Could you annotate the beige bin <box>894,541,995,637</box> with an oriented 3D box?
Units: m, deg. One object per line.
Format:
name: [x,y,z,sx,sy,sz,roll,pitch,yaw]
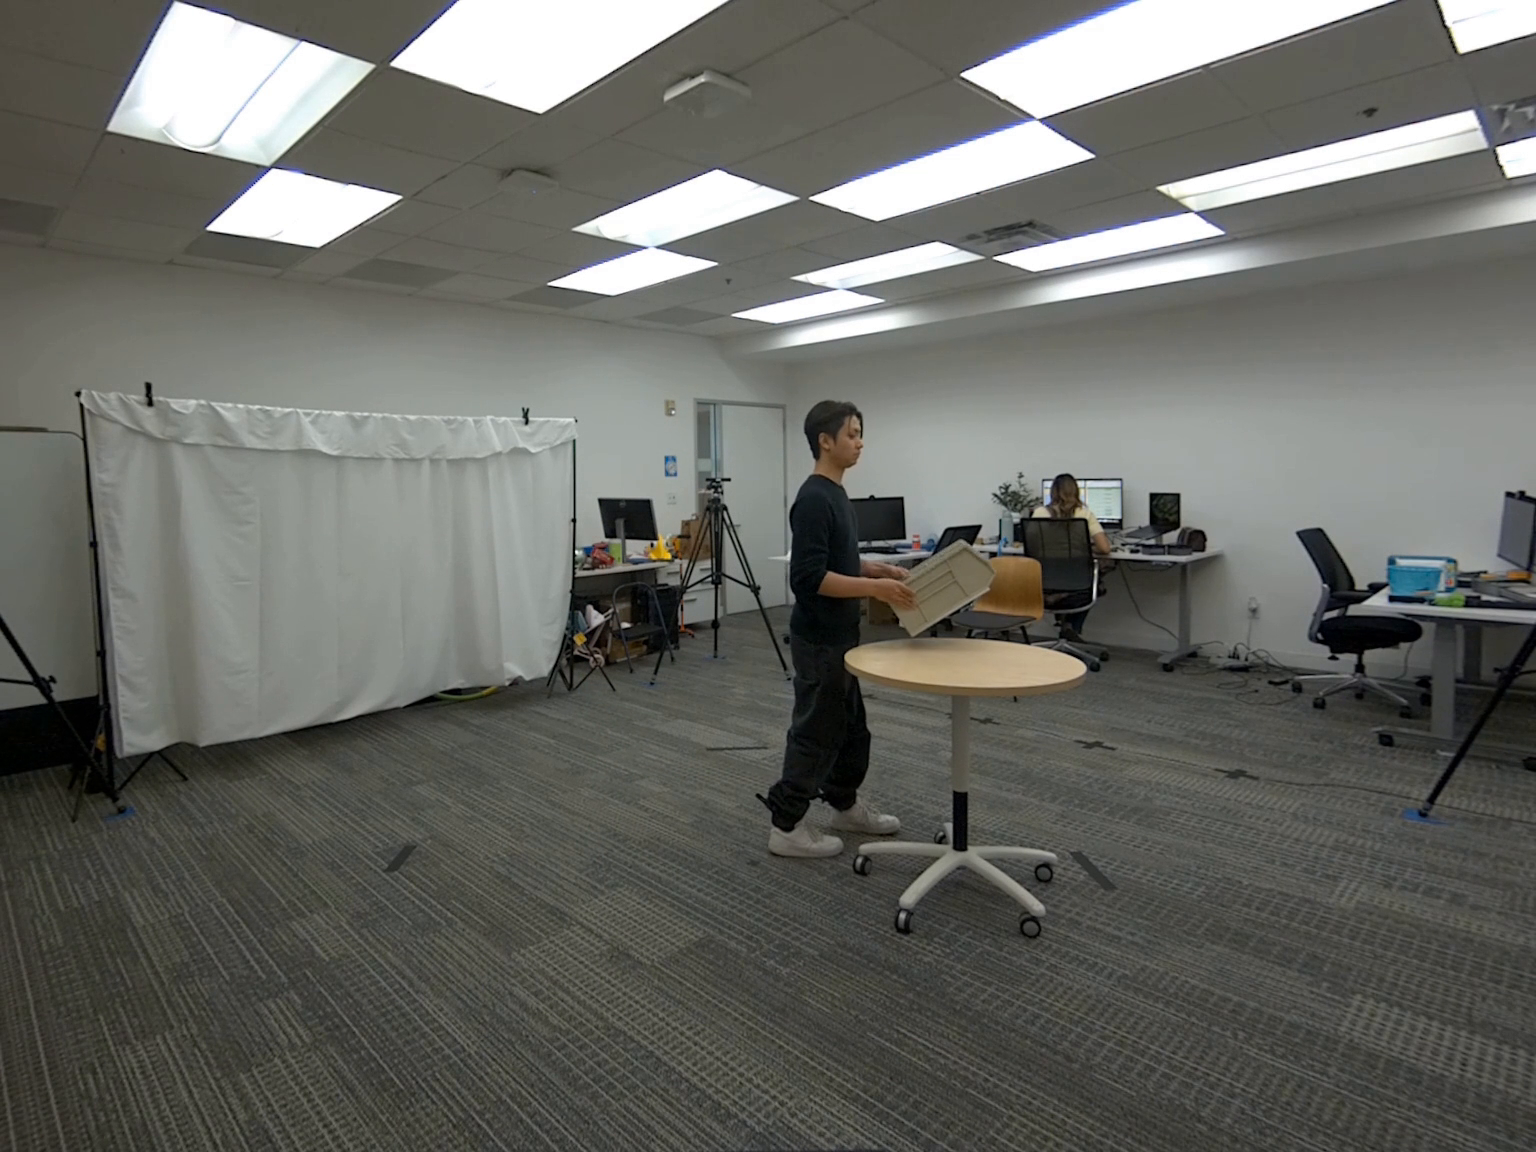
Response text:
beige bin: [0.637,0.035,3.152,0.379,0.190,0.417,-34,-4,13]
